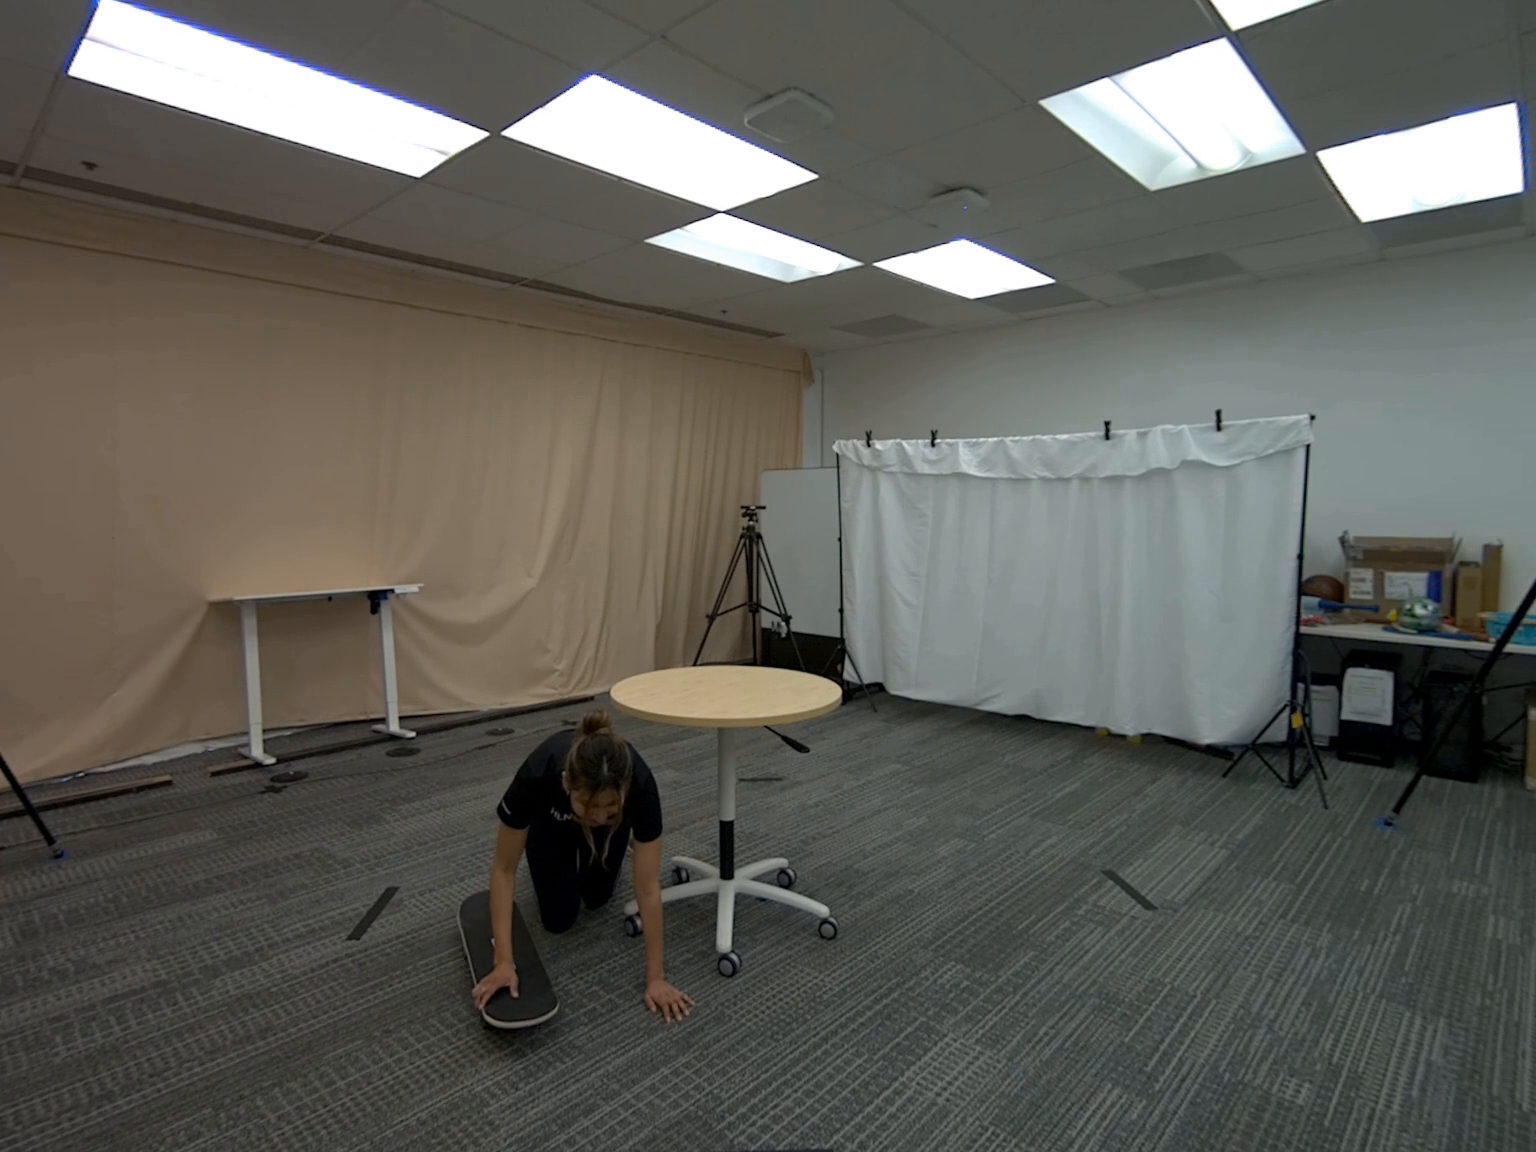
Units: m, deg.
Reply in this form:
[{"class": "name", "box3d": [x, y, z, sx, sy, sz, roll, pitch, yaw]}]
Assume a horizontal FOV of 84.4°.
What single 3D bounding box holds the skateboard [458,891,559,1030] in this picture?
[{"class": "skateboard", "box3d": [-0.768, 1.127, 2.465, 0.189, 0.110, 0.806, -2, 4, -27]}]
